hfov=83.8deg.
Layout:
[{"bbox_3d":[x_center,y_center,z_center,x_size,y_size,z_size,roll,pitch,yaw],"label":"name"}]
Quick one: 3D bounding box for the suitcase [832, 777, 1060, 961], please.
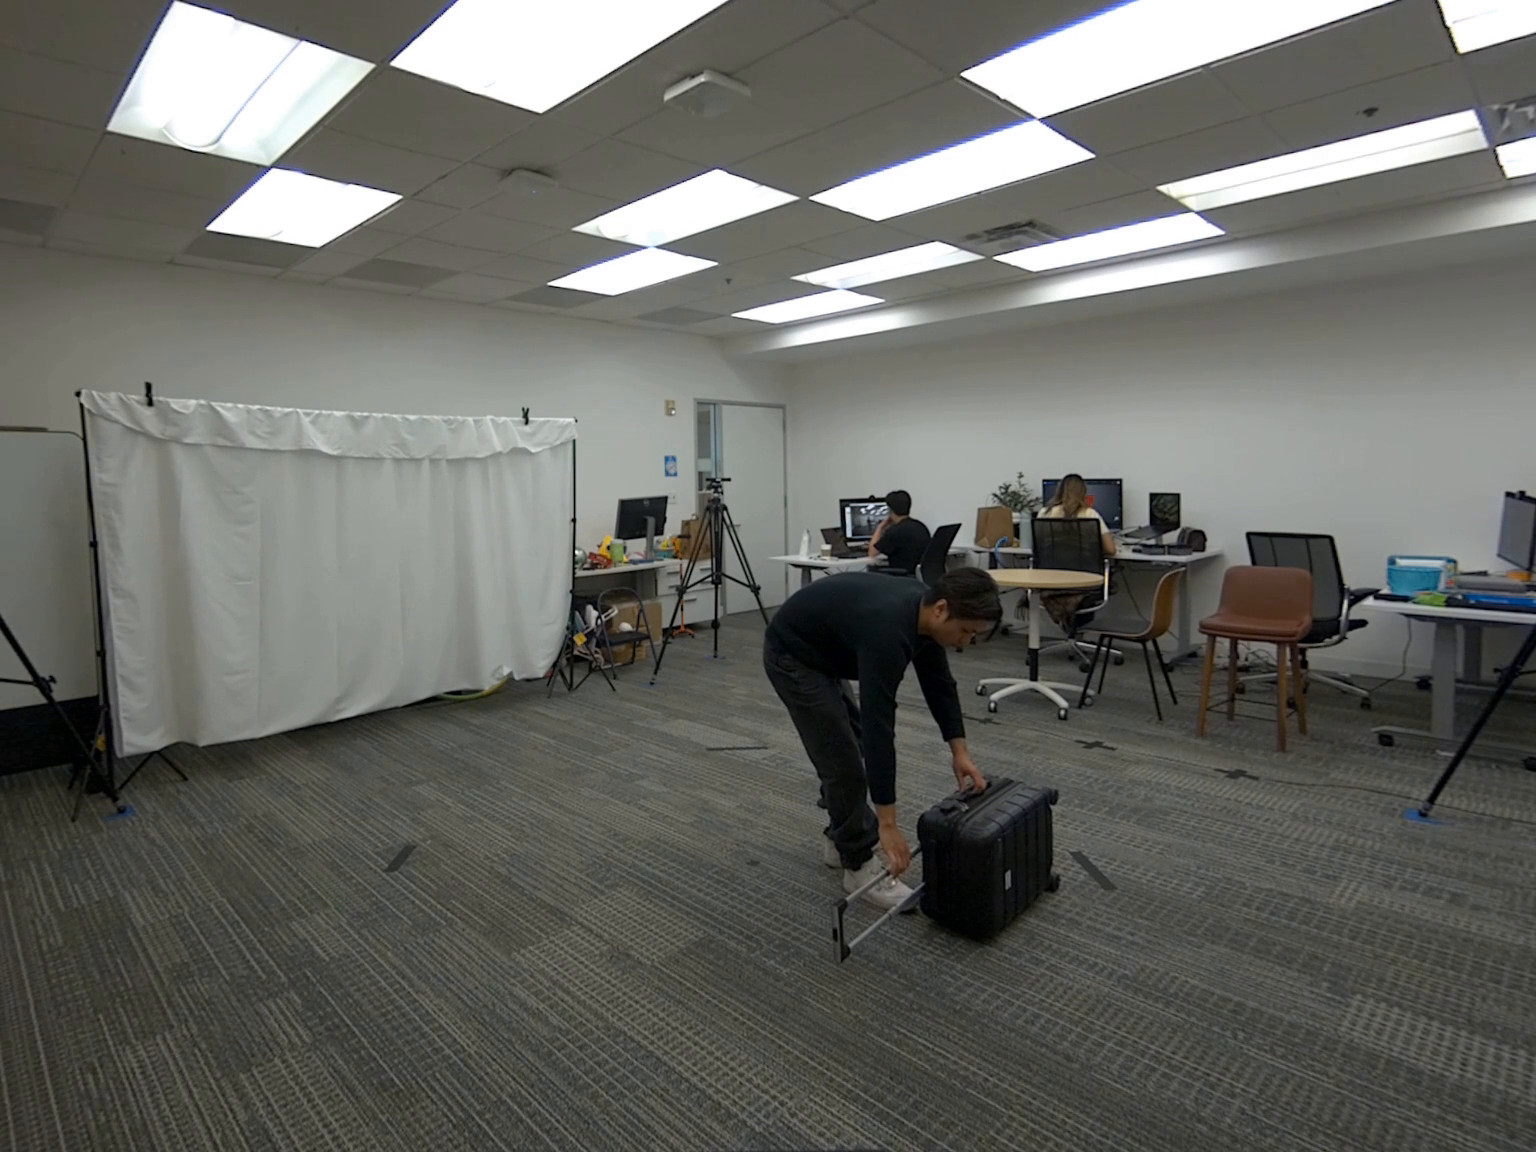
[{"bbox_3d":[0.583,0.901,2.594,0.264,0.382,0.954,1,7,39],"label":"suitcase"}]
